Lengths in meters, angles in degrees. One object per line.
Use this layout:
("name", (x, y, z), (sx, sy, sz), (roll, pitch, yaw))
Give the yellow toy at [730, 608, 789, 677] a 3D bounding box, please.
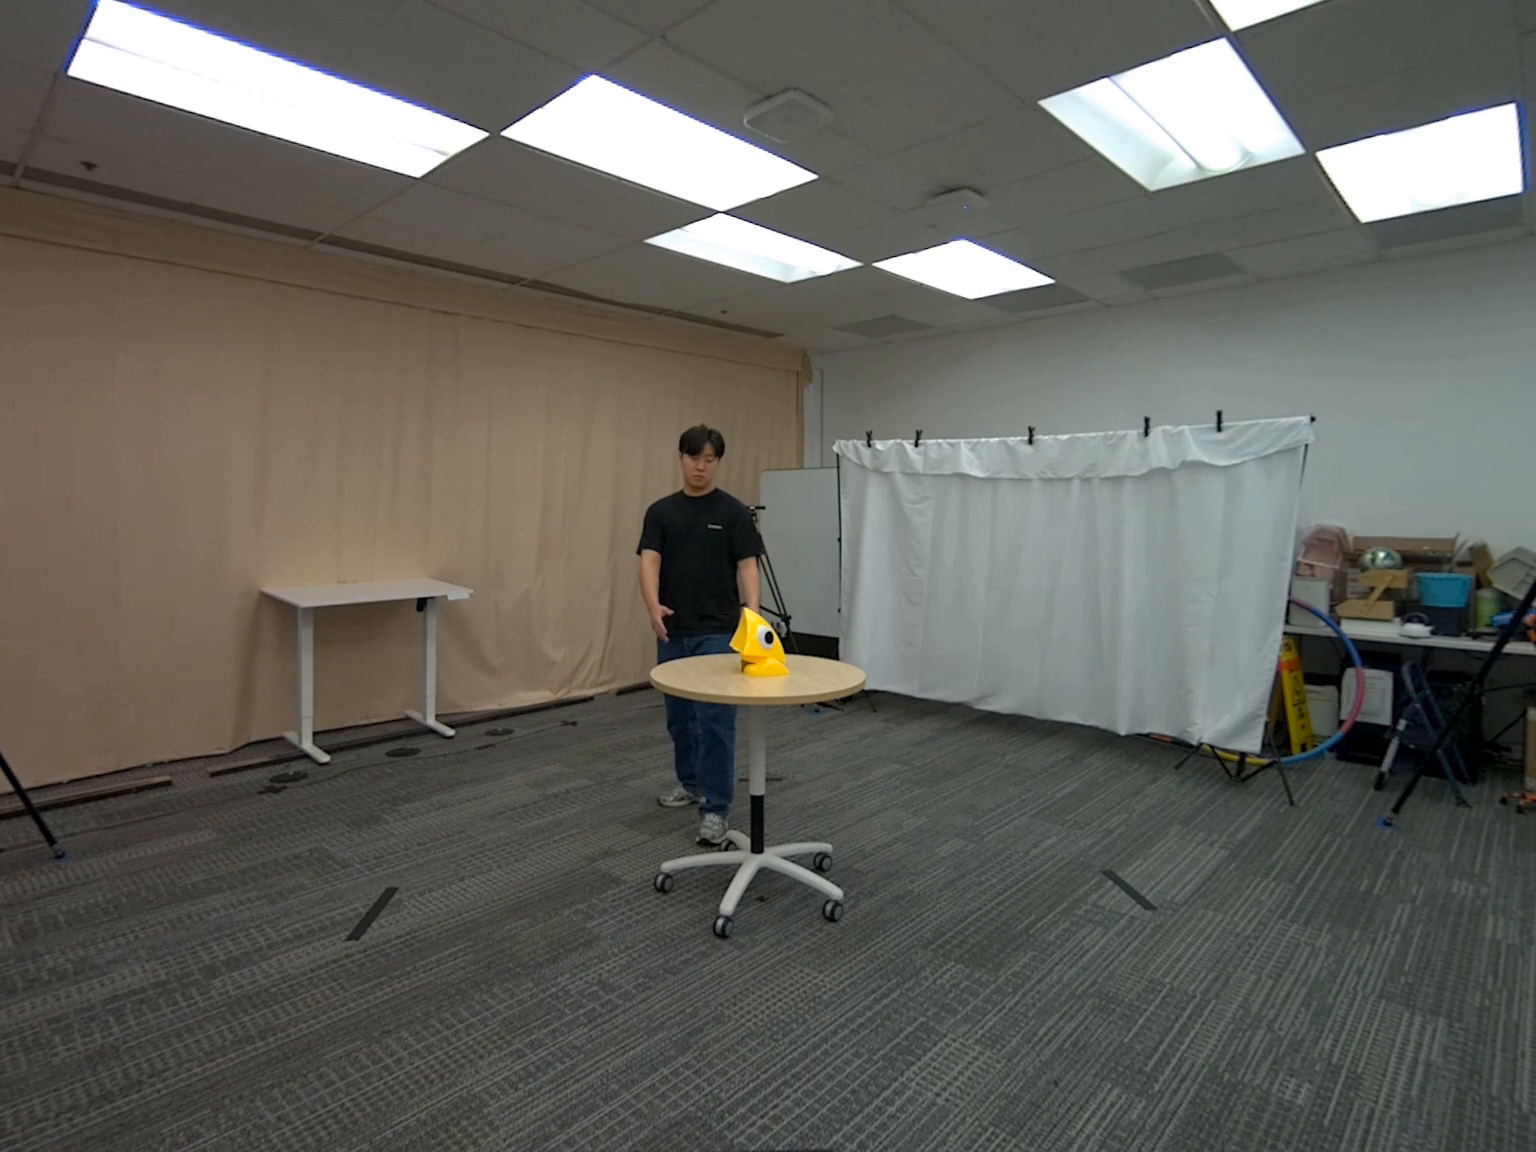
("yellow toy", (-0.022, 0.227, 3.038), (0.190, 0.230, 0.208), (-2, 4, -16))
